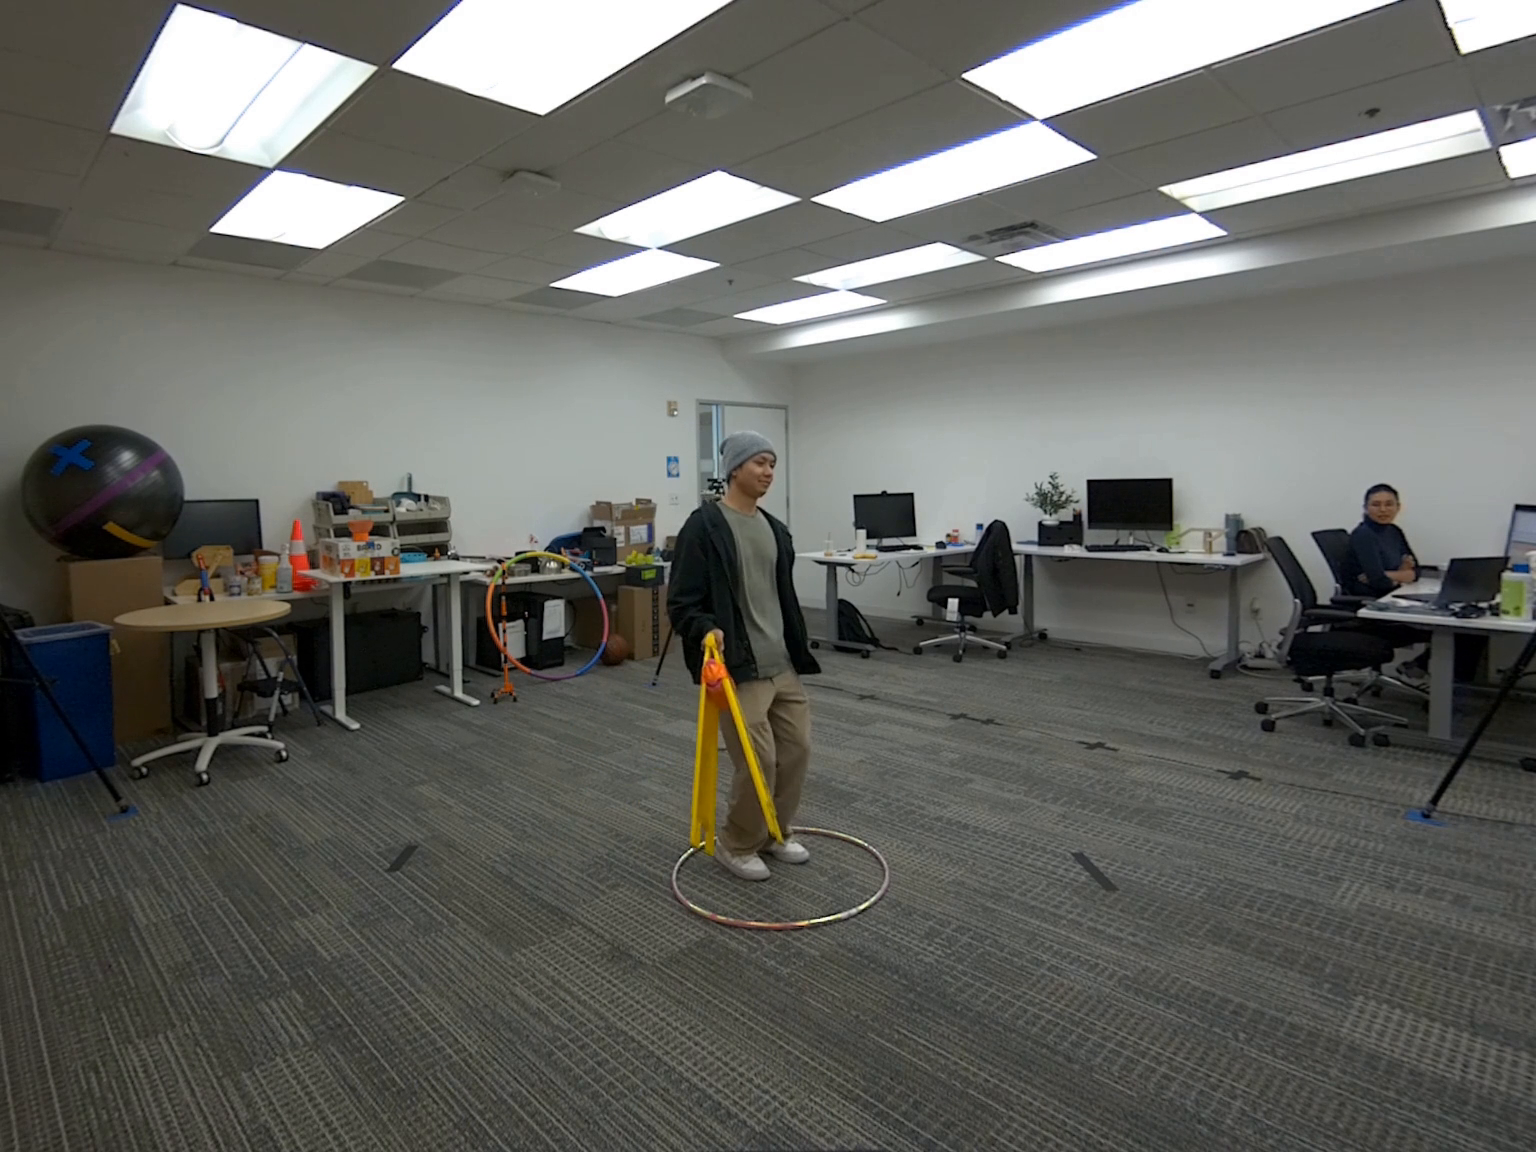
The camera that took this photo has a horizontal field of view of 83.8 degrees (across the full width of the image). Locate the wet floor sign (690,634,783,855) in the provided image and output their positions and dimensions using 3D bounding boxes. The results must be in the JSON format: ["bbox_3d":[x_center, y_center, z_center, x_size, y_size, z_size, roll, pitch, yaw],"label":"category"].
[{"bbox_3d":[-0.140,0.496,2.724,0.290,0.661,0.275,-9,-23,1],"label":"wet floor sign"}]
